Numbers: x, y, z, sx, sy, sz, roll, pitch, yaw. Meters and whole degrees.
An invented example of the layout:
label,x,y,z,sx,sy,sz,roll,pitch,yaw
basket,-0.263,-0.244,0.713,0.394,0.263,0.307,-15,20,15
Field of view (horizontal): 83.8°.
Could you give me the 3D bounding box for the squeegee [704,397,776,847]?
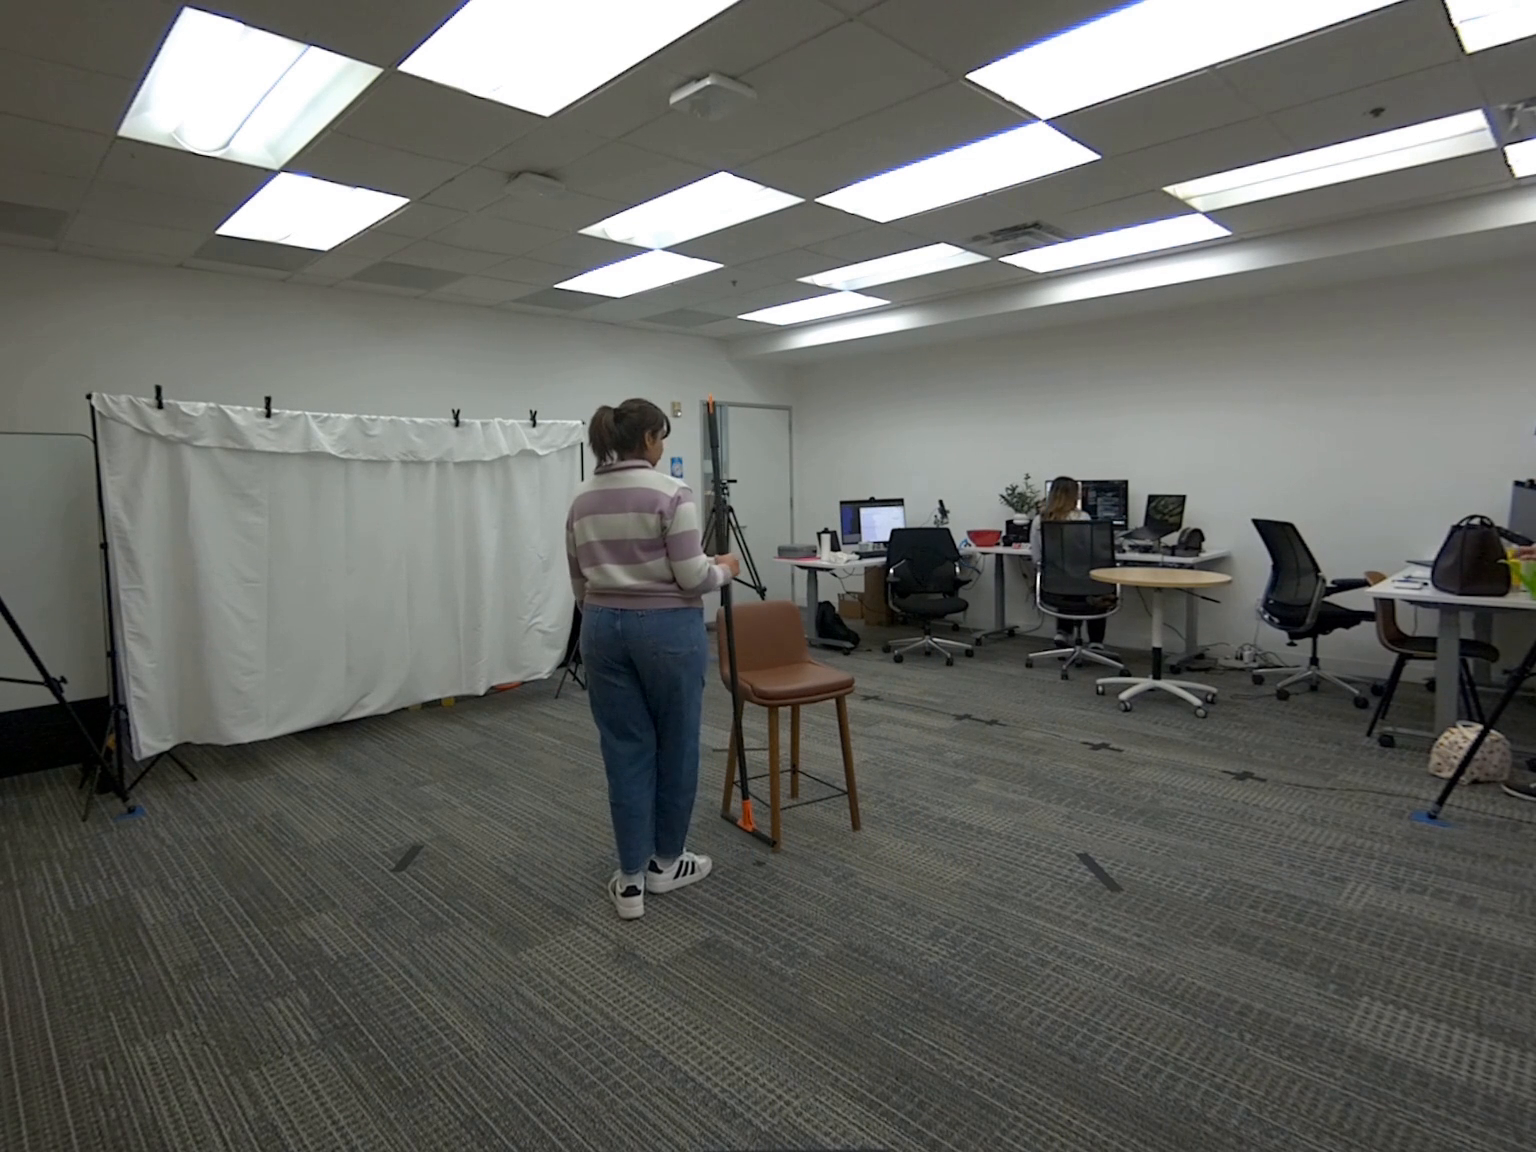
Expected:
label,x,y,z,sx,sy,sz,roll,pitch,yaw
squeegee,-0.136,0.142,2.998,0.439,1.536,0.053,-4,1,4
